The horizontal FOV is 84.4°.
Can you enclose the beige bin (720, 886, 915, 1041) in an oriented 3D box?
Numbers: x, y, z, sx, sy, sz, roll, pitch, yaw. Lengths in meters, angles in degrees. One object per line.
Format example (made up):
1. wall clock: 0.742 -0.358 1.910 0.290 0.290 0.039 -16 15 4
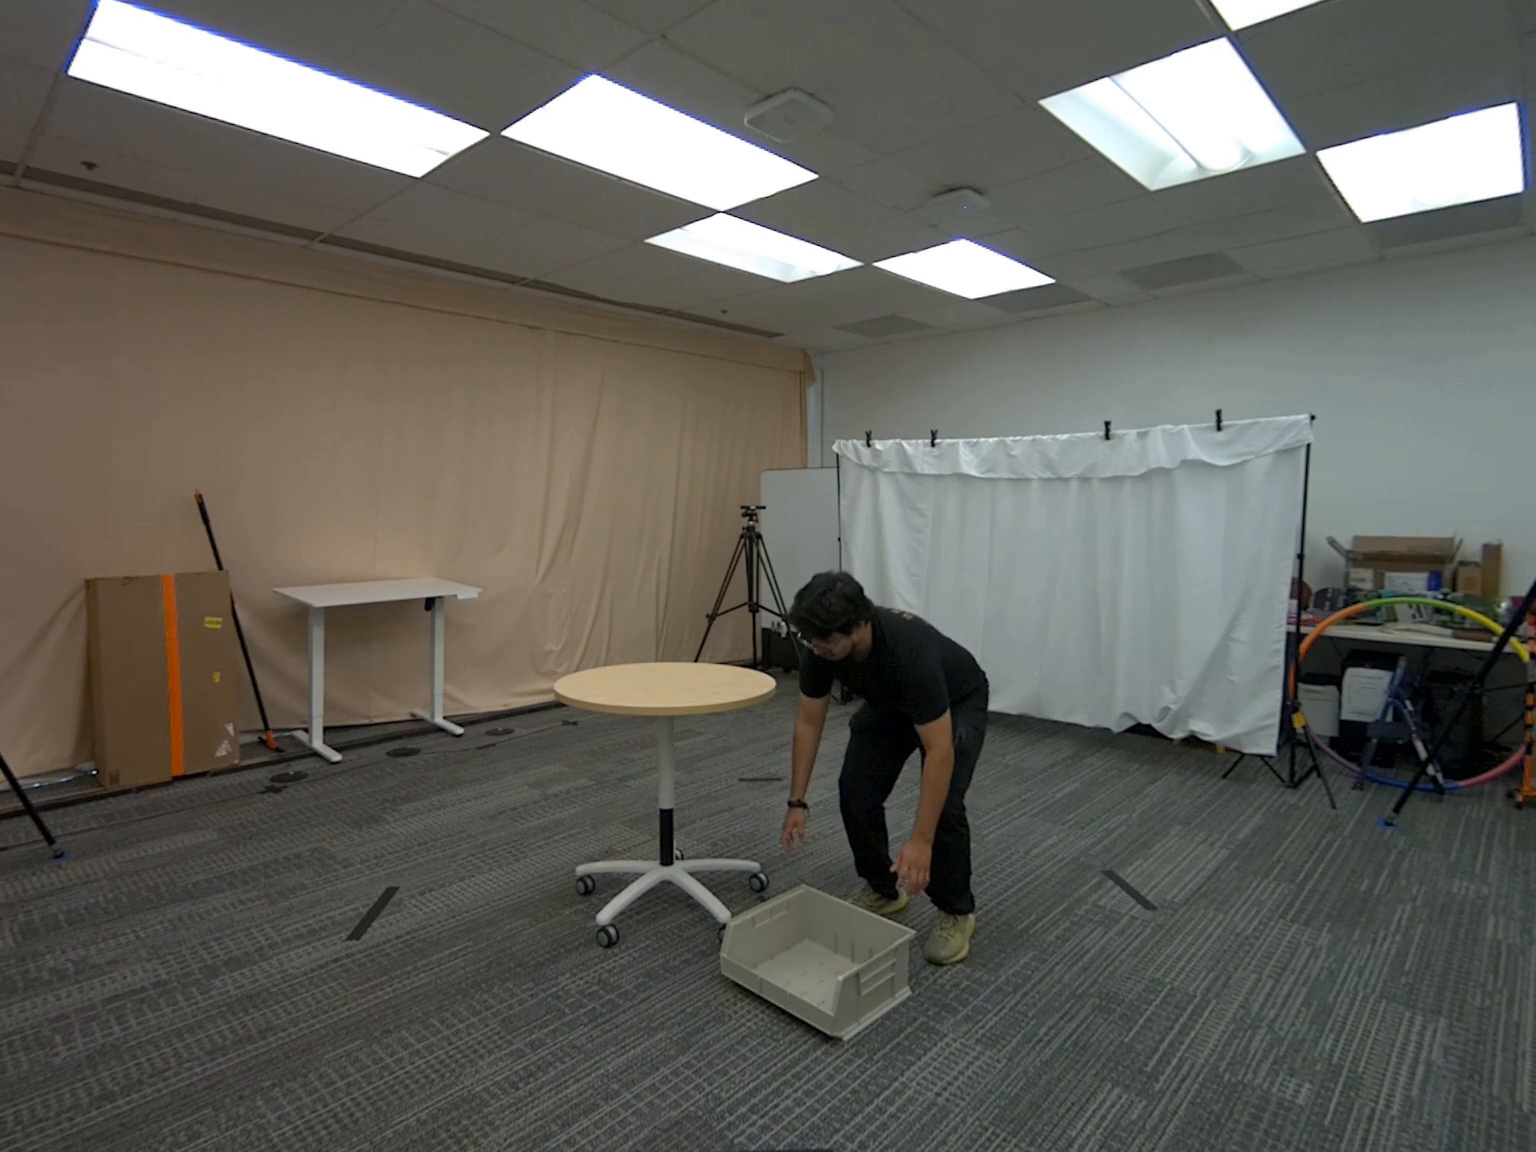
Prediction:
1. beige bin: 0.139 1.097 2.425 0.436 0.188 0.365 4 5 44
